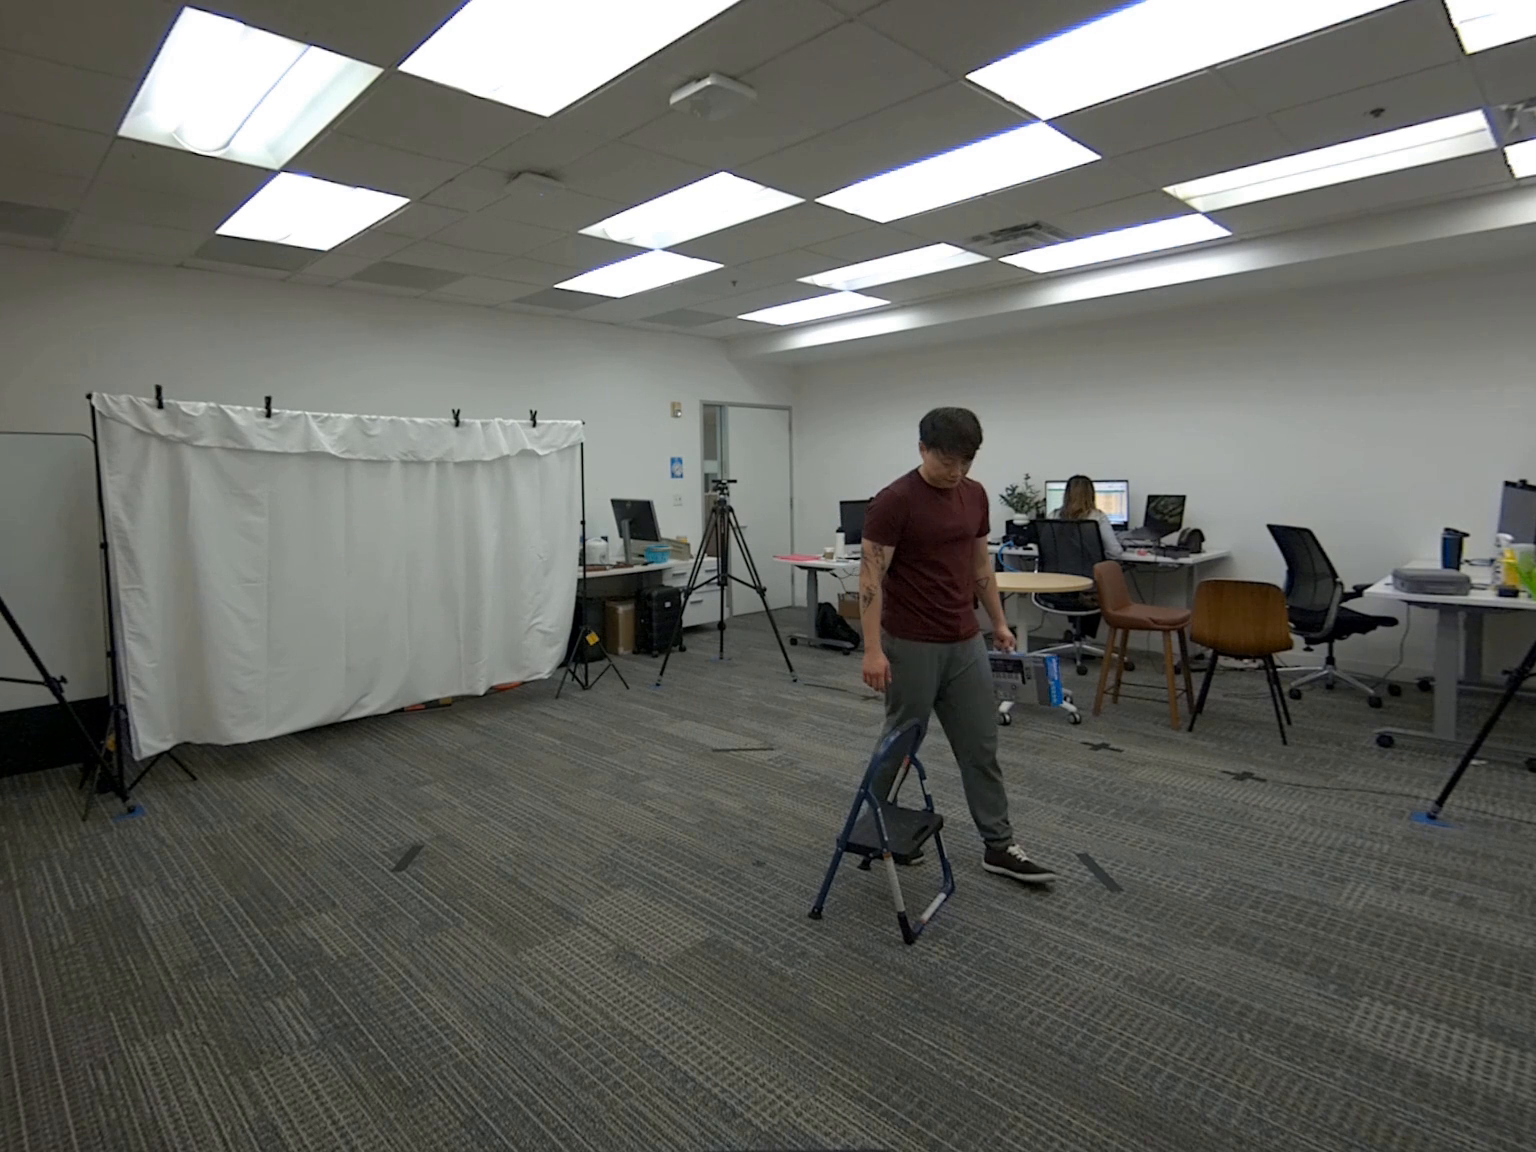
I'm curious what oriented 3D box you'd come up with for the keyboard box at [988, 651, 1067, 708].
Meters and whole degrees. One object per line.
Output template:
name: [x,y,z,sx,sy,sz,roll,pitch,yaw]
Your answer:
keyboard box: [0.868,0.365,3.111,0.058,0.176,0.445,-5,0,-27]
